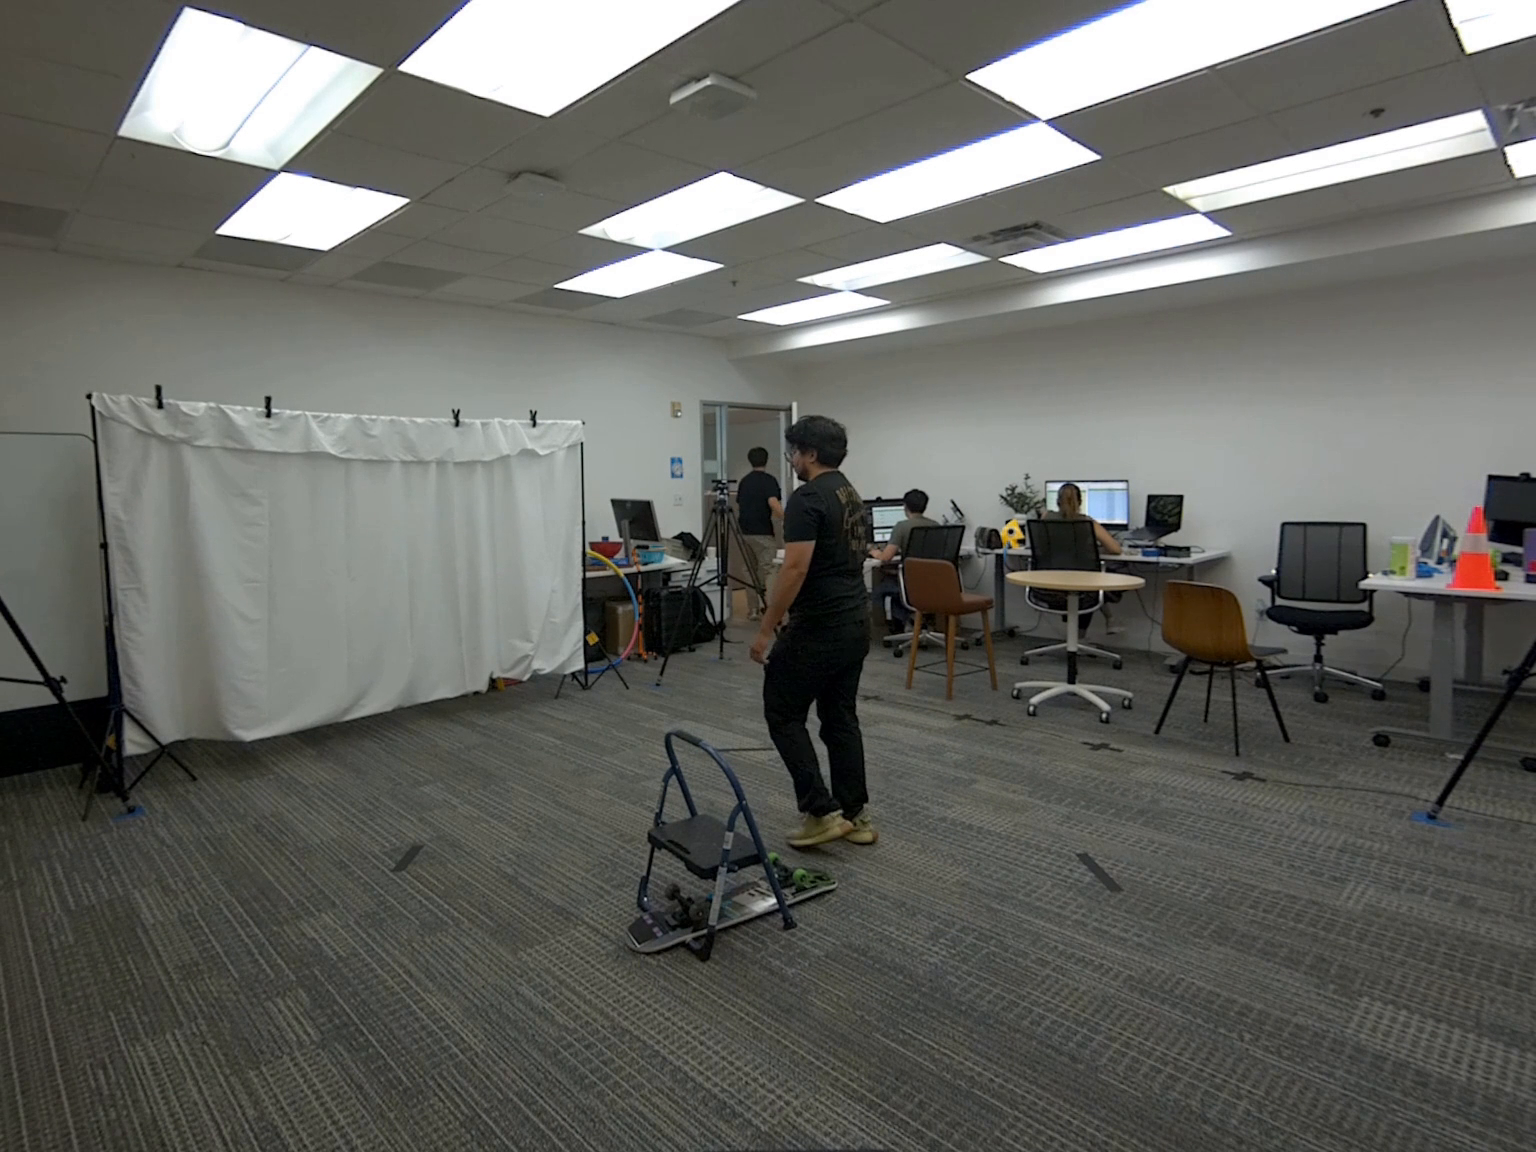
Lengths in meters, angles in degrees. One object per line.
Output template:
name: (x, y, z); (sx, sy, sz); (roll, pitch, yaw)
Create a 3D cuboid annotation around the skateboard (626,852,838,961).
skateboard: (-0.091, 1.038, 2.768); (0.765, 0.110, 0.199); (-4, 6, -35)
